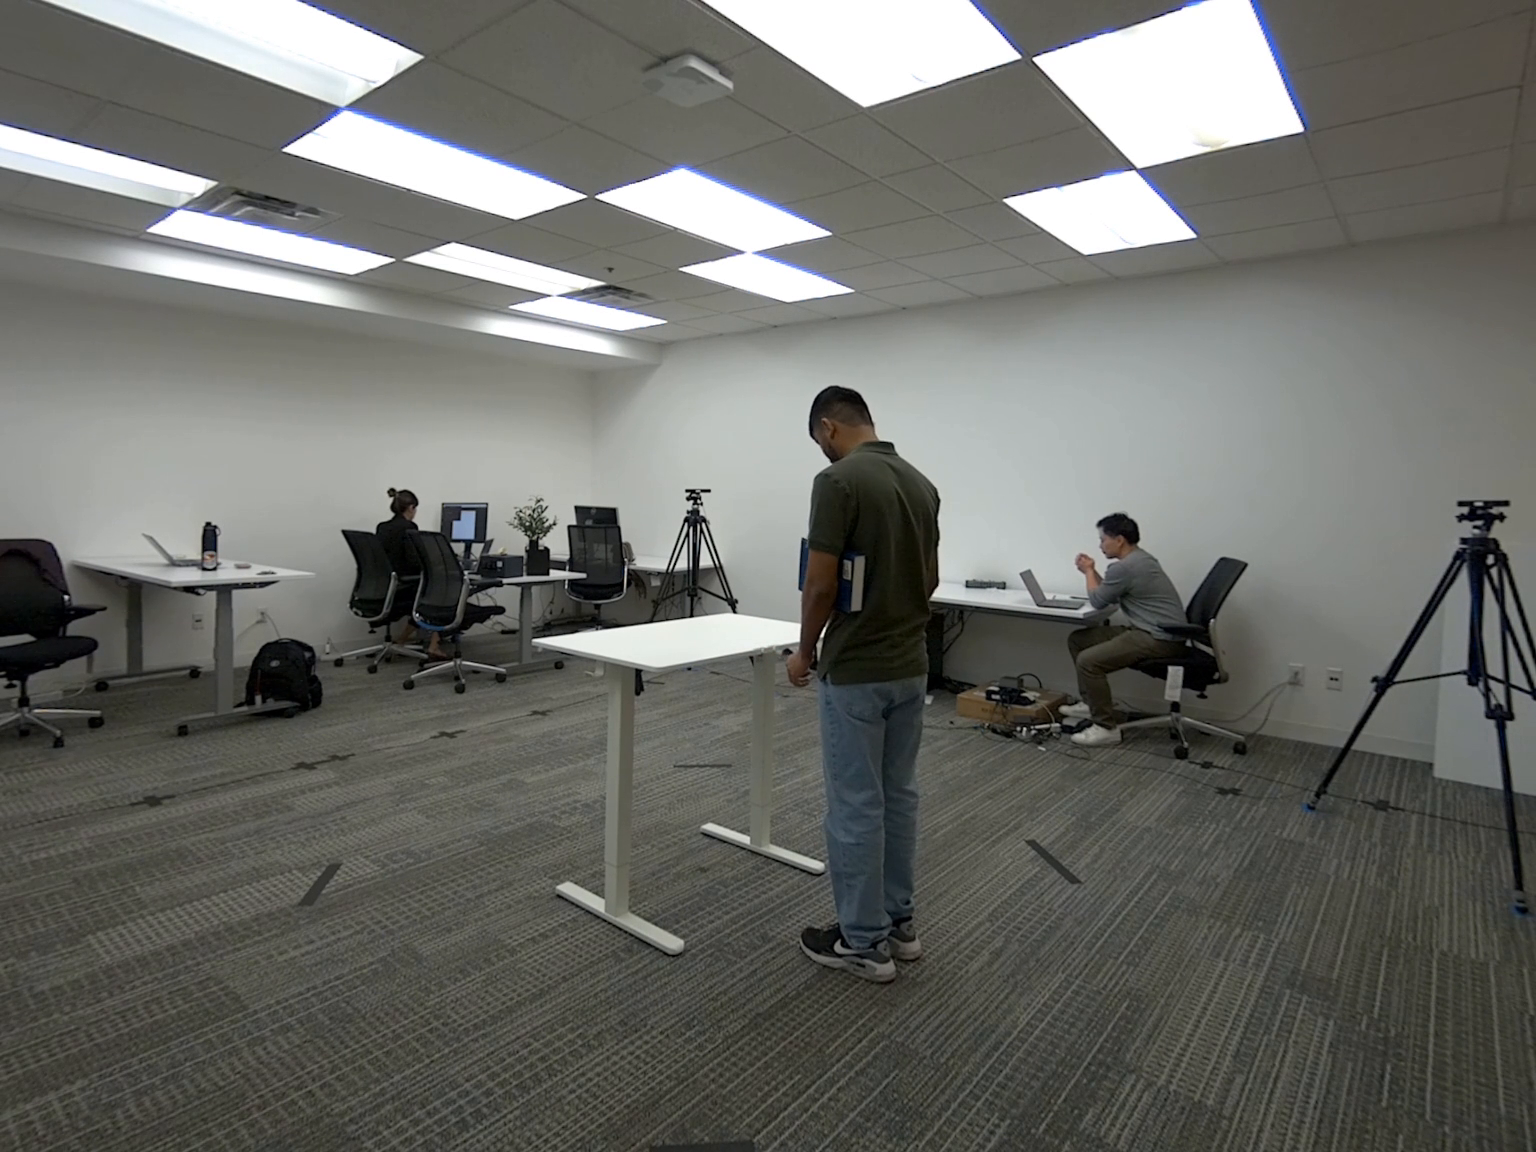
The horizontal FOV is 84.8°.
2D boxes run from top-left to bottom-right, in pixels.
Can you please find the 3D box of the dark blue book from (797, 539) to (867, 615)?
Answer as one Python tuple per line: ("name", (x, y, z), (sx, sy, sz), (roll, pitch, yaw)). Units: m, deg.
("dark blue book", (0.168, -0.011, 2.410), (0.044, 0.161, 0.254), (-4, 15, -34))
